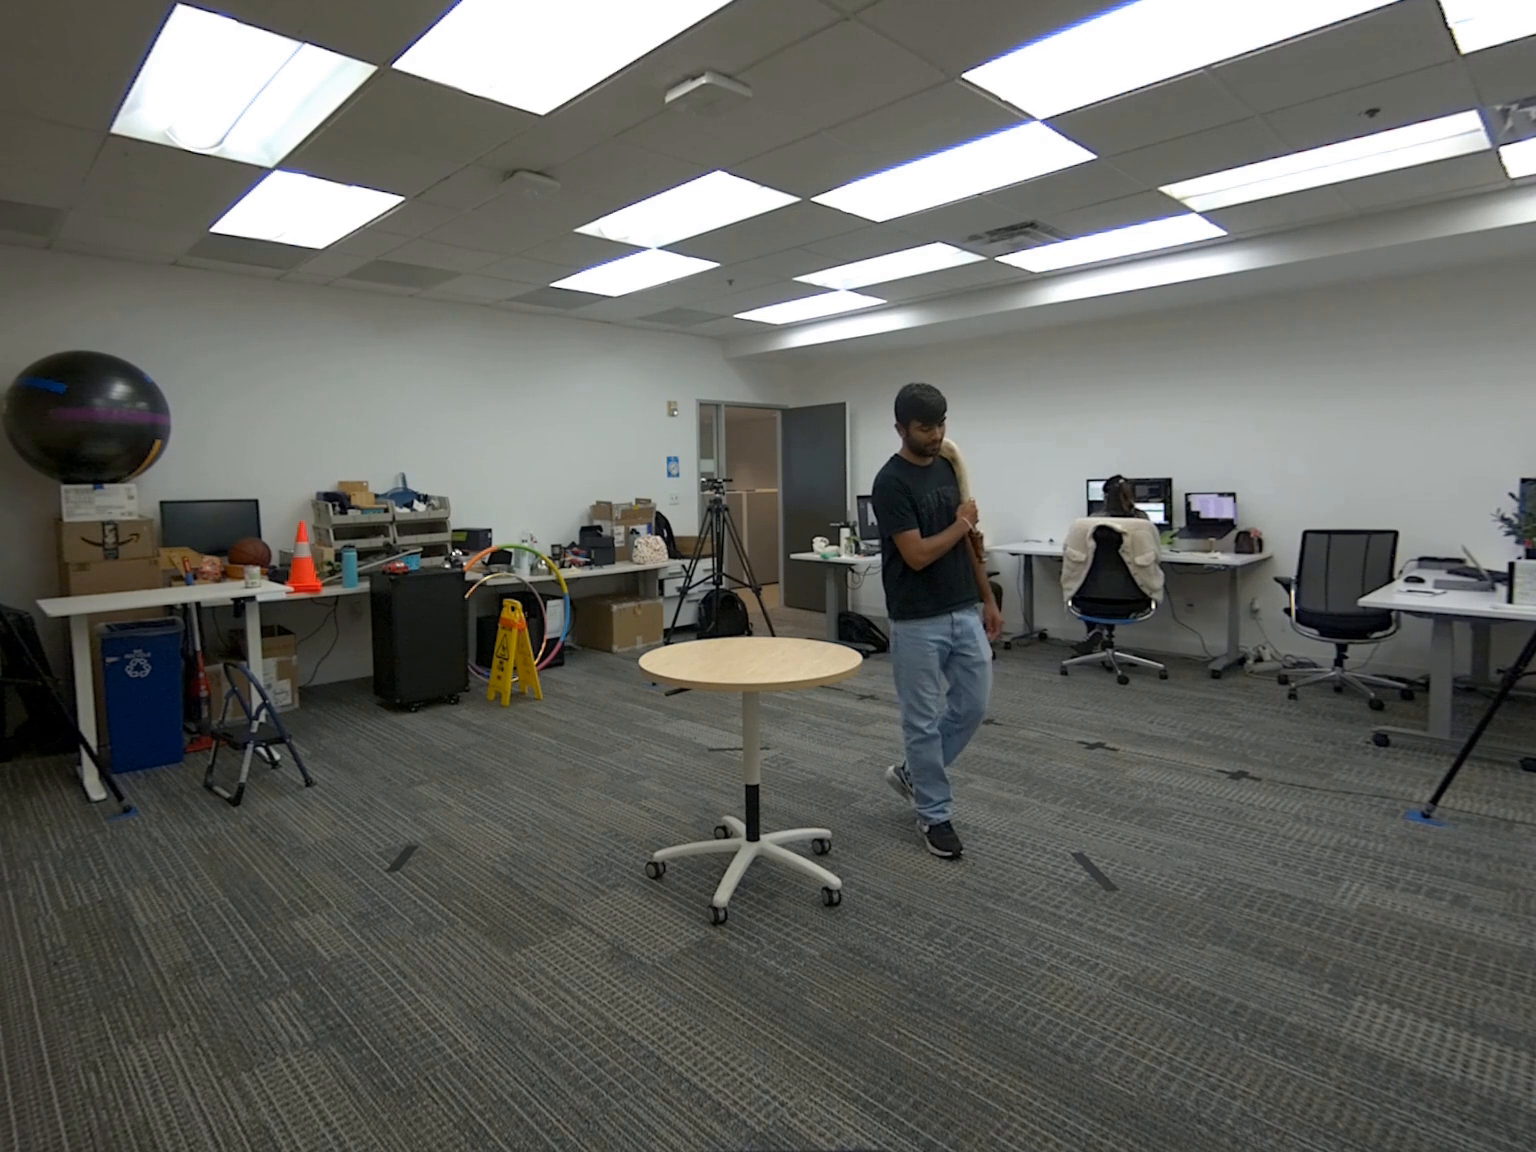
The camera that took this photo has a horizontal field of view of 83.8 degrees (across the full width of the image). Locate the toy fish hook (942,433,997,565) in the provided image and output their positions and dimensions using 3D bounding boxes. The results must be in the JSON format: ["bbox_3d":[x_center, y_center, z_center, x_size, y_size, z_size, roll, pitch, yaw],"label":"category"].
[{"bbox_3d":[0.716,-0.279,3.320,0.047,0.510,0.227,-13,-6,-26],"label":"toy fish hook"}]
